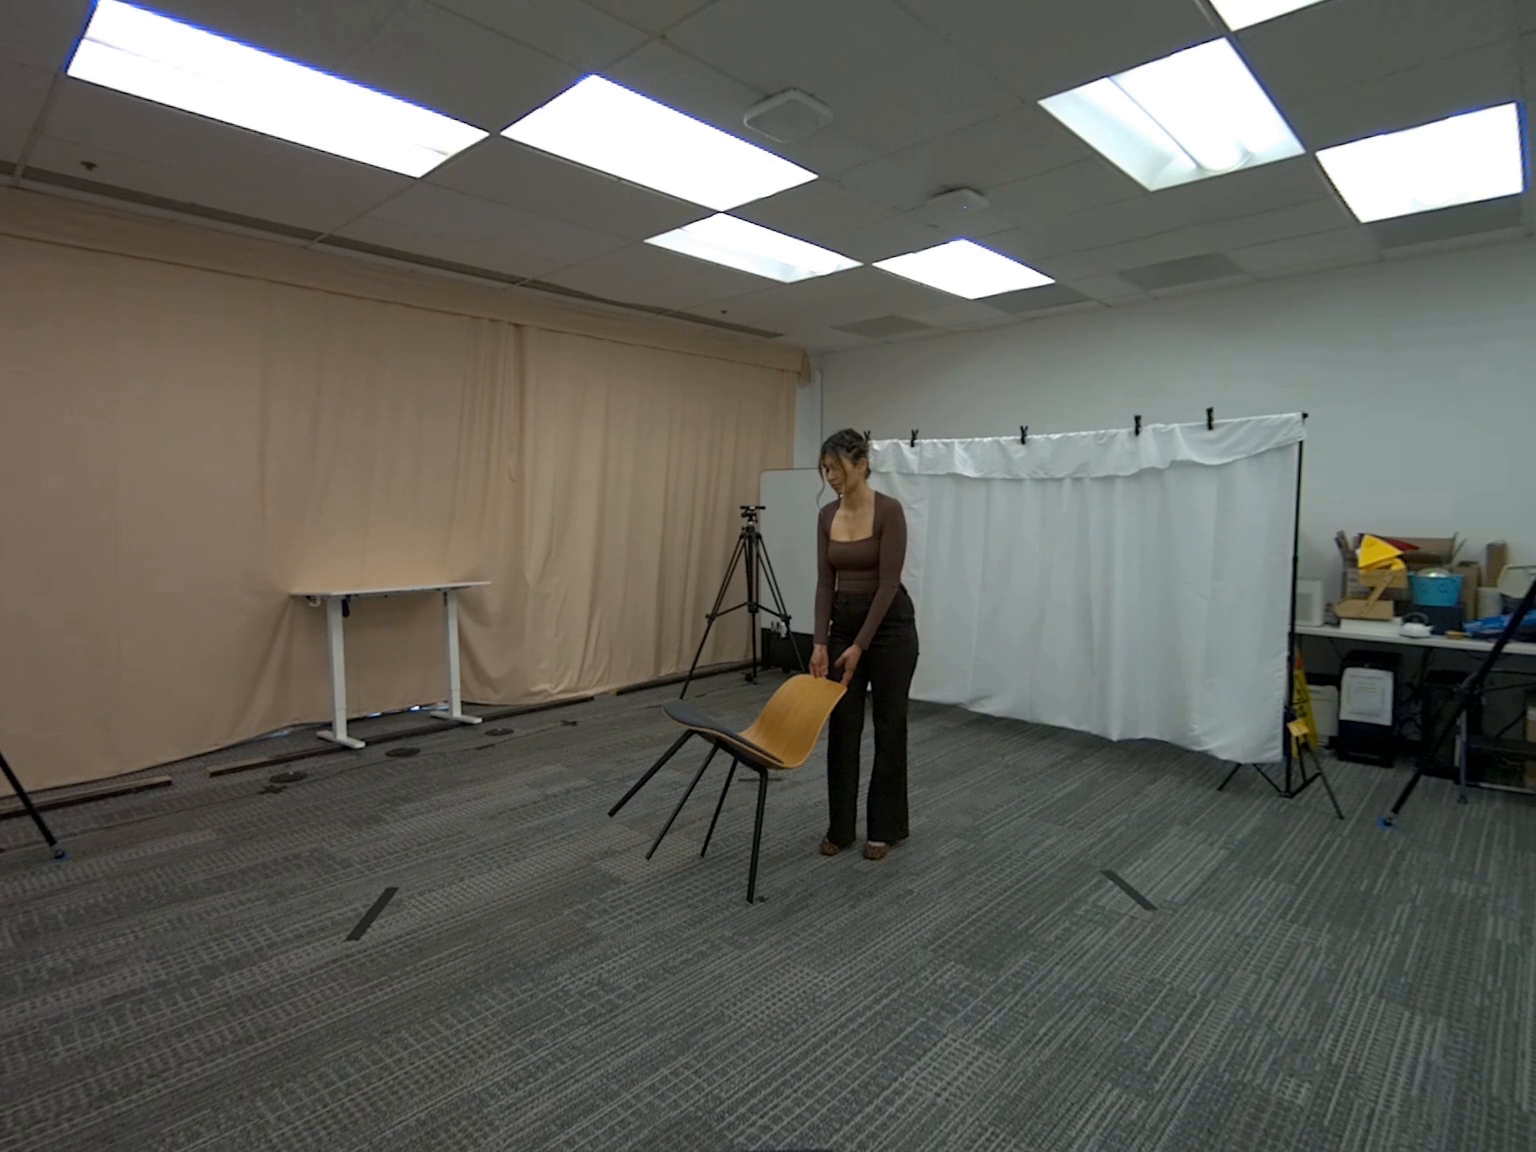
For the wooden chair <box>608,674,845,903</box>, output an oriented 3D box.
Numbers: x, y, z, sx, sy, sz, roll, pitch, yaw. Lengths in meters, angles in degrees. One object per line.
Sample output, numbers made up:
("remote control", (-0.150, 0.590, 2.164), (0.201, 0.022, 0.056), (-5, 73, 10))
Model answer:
("wooden chair", (-0.141, 0.645, 3.121), (0.510, 0.877, 0.491), (36, -11, -23))
